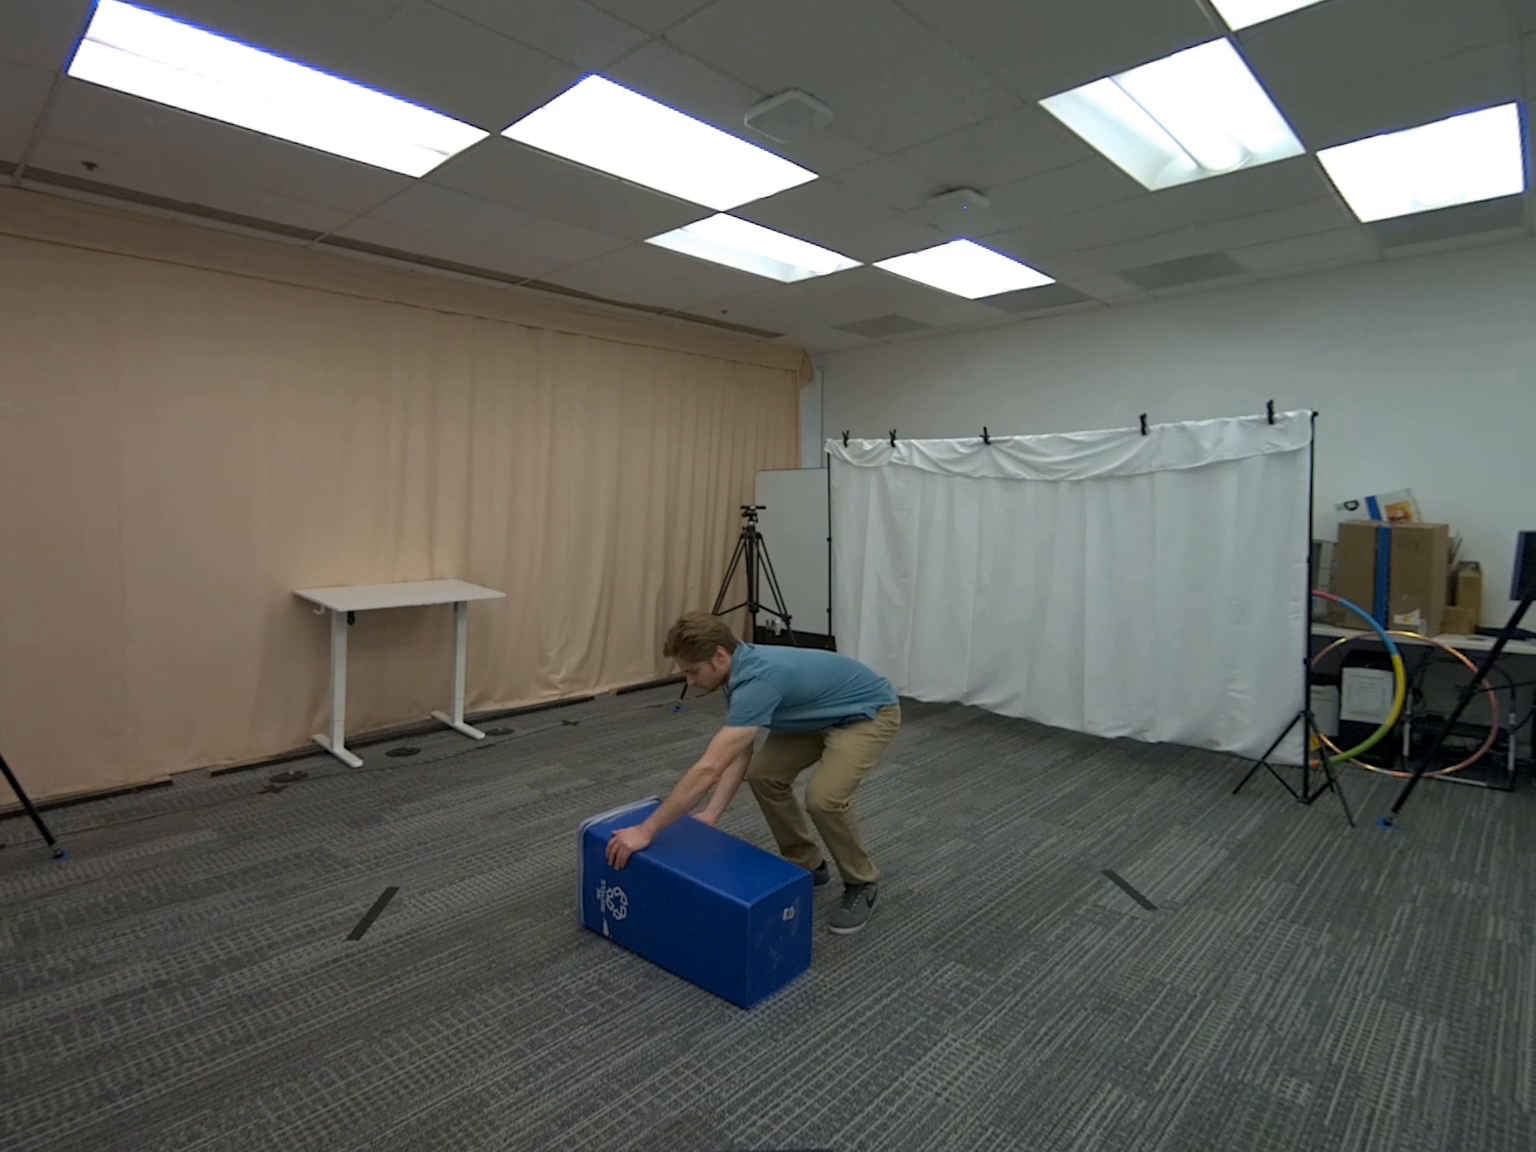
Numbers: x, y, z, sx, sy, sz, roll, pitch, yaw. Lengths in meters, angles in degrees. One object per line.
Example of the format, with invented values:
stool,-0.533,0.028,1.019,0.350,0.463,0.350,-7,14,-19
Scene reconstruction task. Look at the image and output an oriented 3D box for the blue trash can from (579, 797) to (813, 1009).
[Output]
blue trash can,-0.232,1.015,2.651,0.738,0.377,0.363,8,8,40
